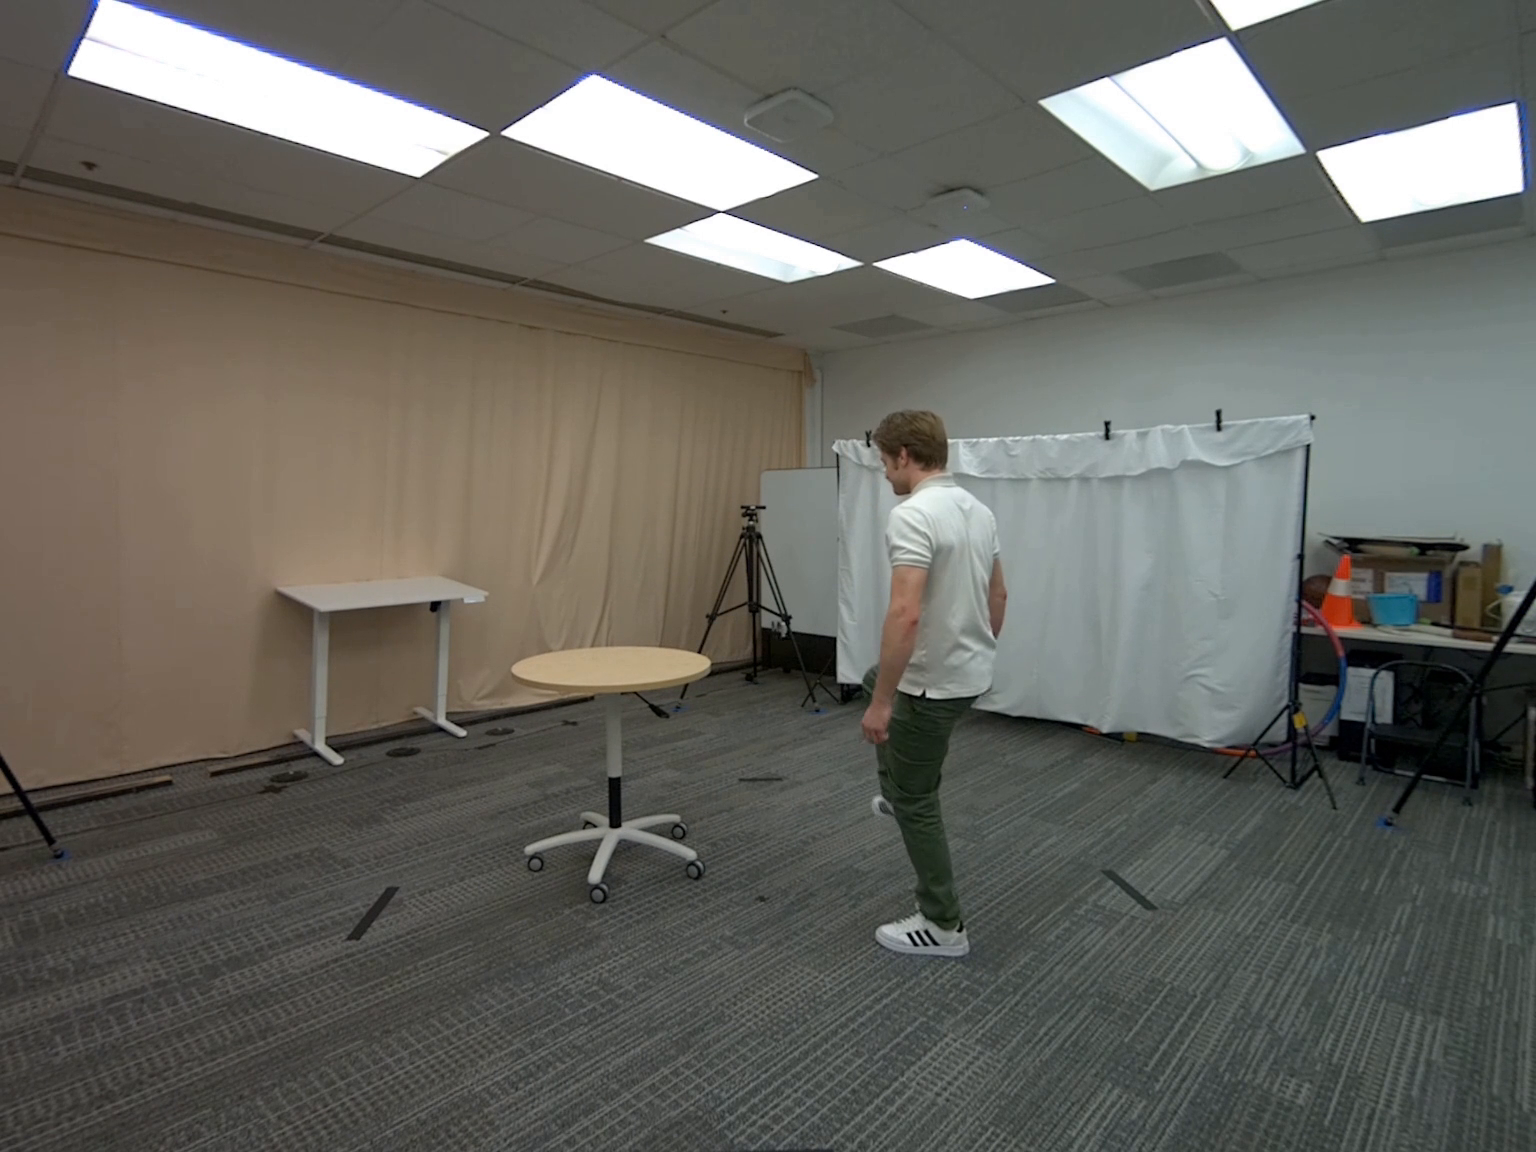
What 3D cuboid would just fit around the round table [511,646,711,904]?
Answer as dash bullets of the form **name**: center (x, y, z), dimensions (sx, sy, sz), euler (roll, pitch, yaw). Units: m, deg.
- **round table**: center (-0.593, 0.736, 3.291), dimensions (0.763, 0.792, 0.766), euler (-1, 4, -2)
